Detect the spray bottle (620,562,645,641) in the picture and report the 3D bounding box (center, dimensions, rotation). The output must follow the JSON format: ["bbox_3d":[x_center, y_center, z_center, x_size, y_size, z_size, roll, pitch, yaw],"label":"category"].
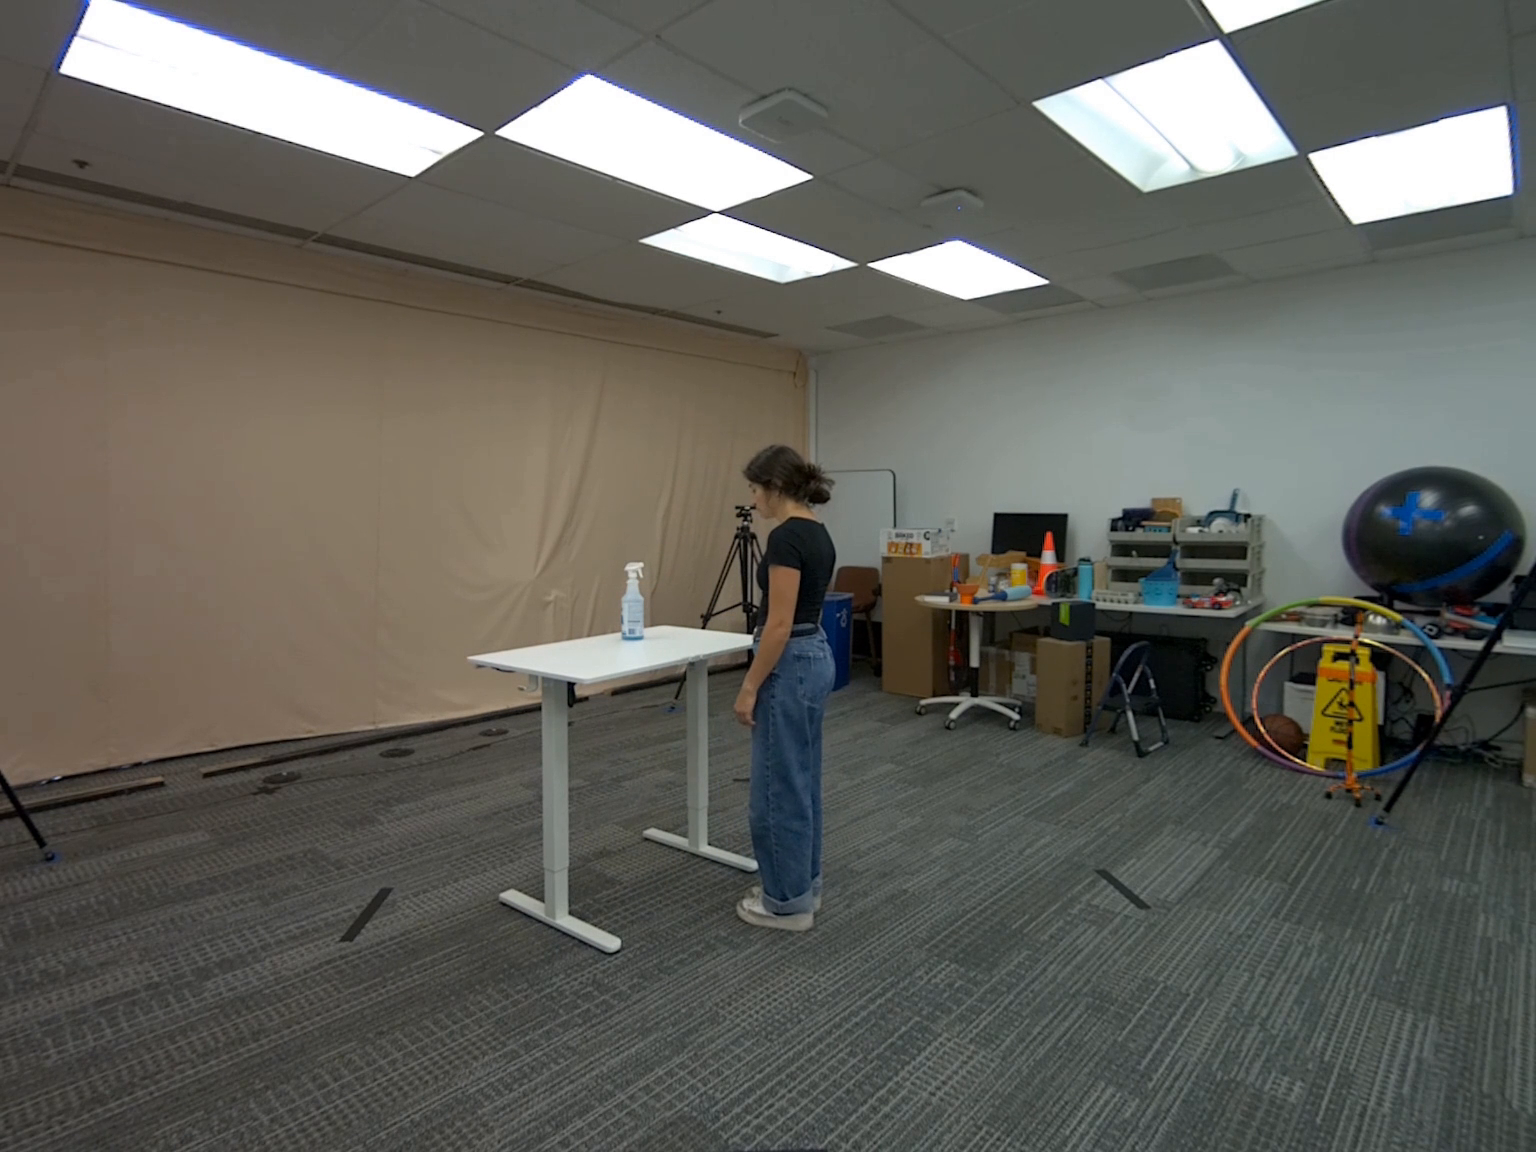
[{"bbox_3d":[-0.526,0.098,3.252,0.085,0.296,0.092,-2,4,-29],"label":"spray bottle"}]
